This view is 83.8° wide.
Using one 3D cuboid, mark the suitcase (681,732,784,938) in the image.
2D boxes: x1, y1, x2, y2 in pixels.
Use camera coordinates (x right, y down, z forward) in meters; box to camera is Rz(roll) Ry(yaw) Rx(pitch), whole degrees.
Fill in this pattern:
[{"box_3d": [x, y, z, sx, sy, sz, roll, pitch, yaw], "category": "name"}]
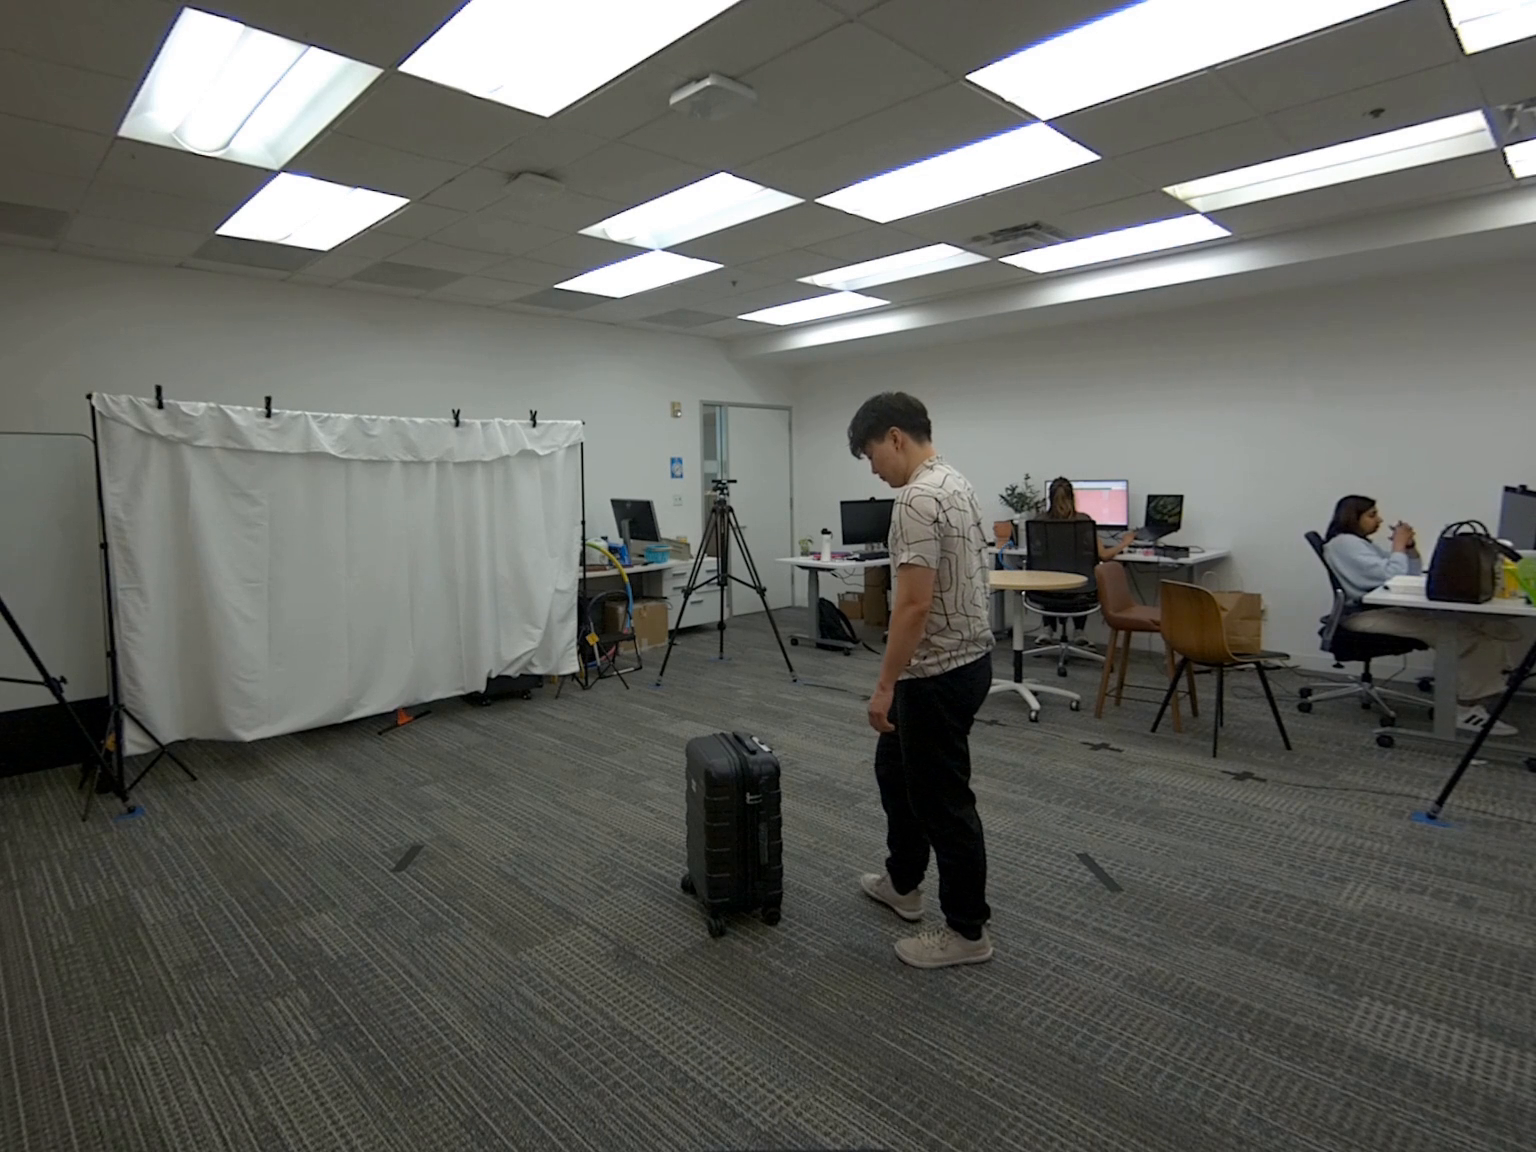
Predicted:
[{"box_3d": [-0.112, 0.805, 2.795, 0.244, 0.547, 0.383, -2, 5, -19], "category": "suitcase"}]
